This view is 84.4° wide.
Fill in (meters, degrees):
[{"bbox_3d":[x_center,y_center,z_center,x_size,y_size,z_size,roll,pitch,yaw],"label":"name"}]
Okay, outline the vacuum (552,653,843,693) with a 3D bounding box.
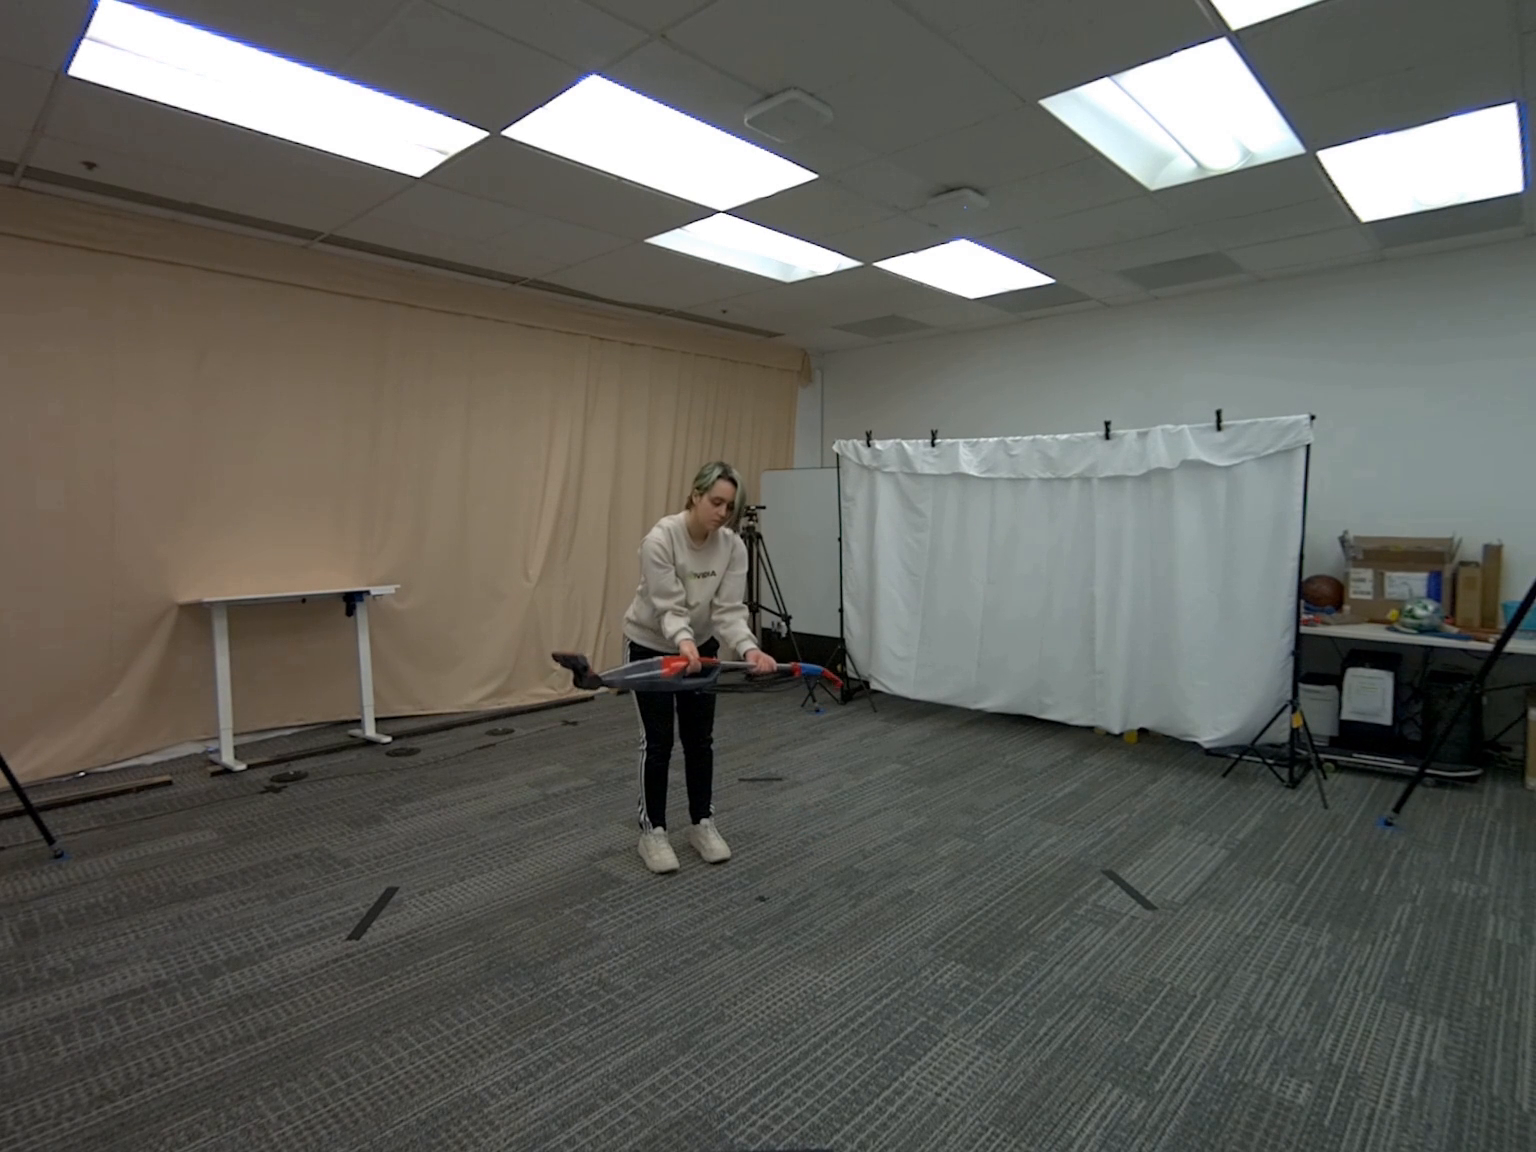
[{"bbox_3d":[-0.183,0.351,2.937,1.019,0.144,0.259,6,-5,-30],"label":"vacuum"}]
